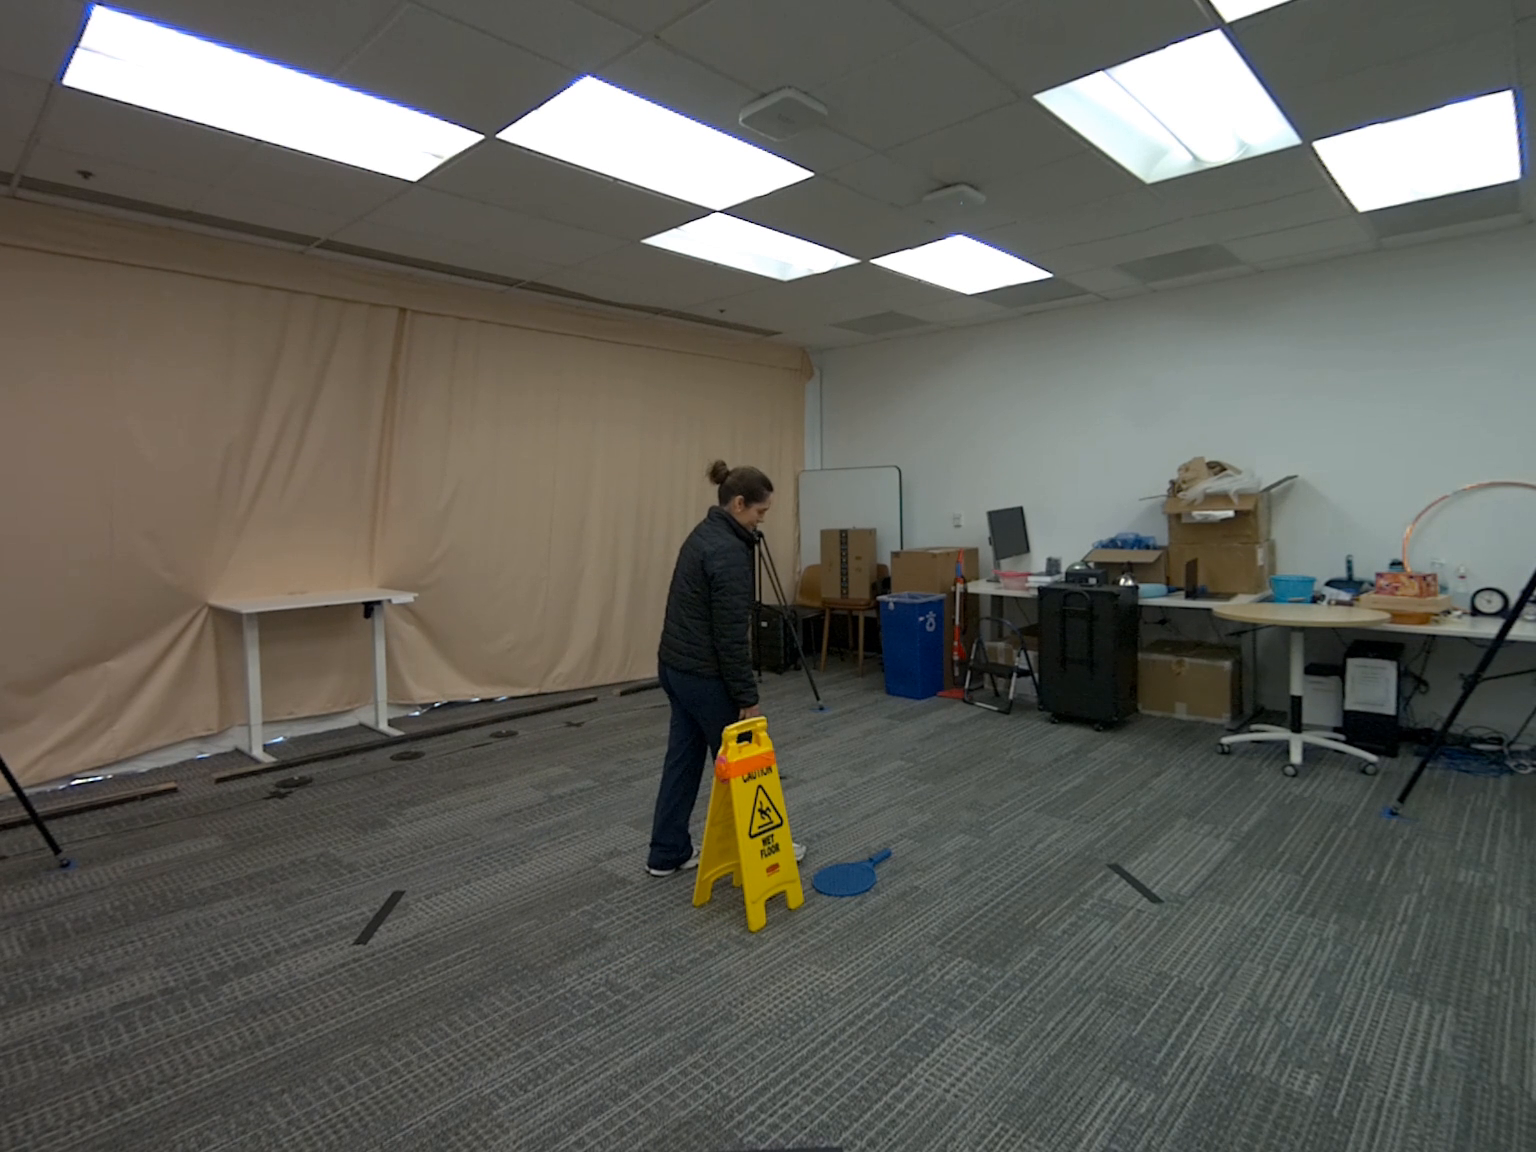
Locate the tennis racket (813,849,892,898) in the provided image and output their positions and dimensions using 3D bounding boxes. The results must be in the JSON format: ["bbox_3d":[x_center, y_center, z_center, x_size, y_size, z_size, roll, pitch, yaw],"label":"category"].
[{"bbox_3d":[0.351,1.106,3.155,0.221,0.031,0.420,5,9,44],"label":"tennis racket"}]
